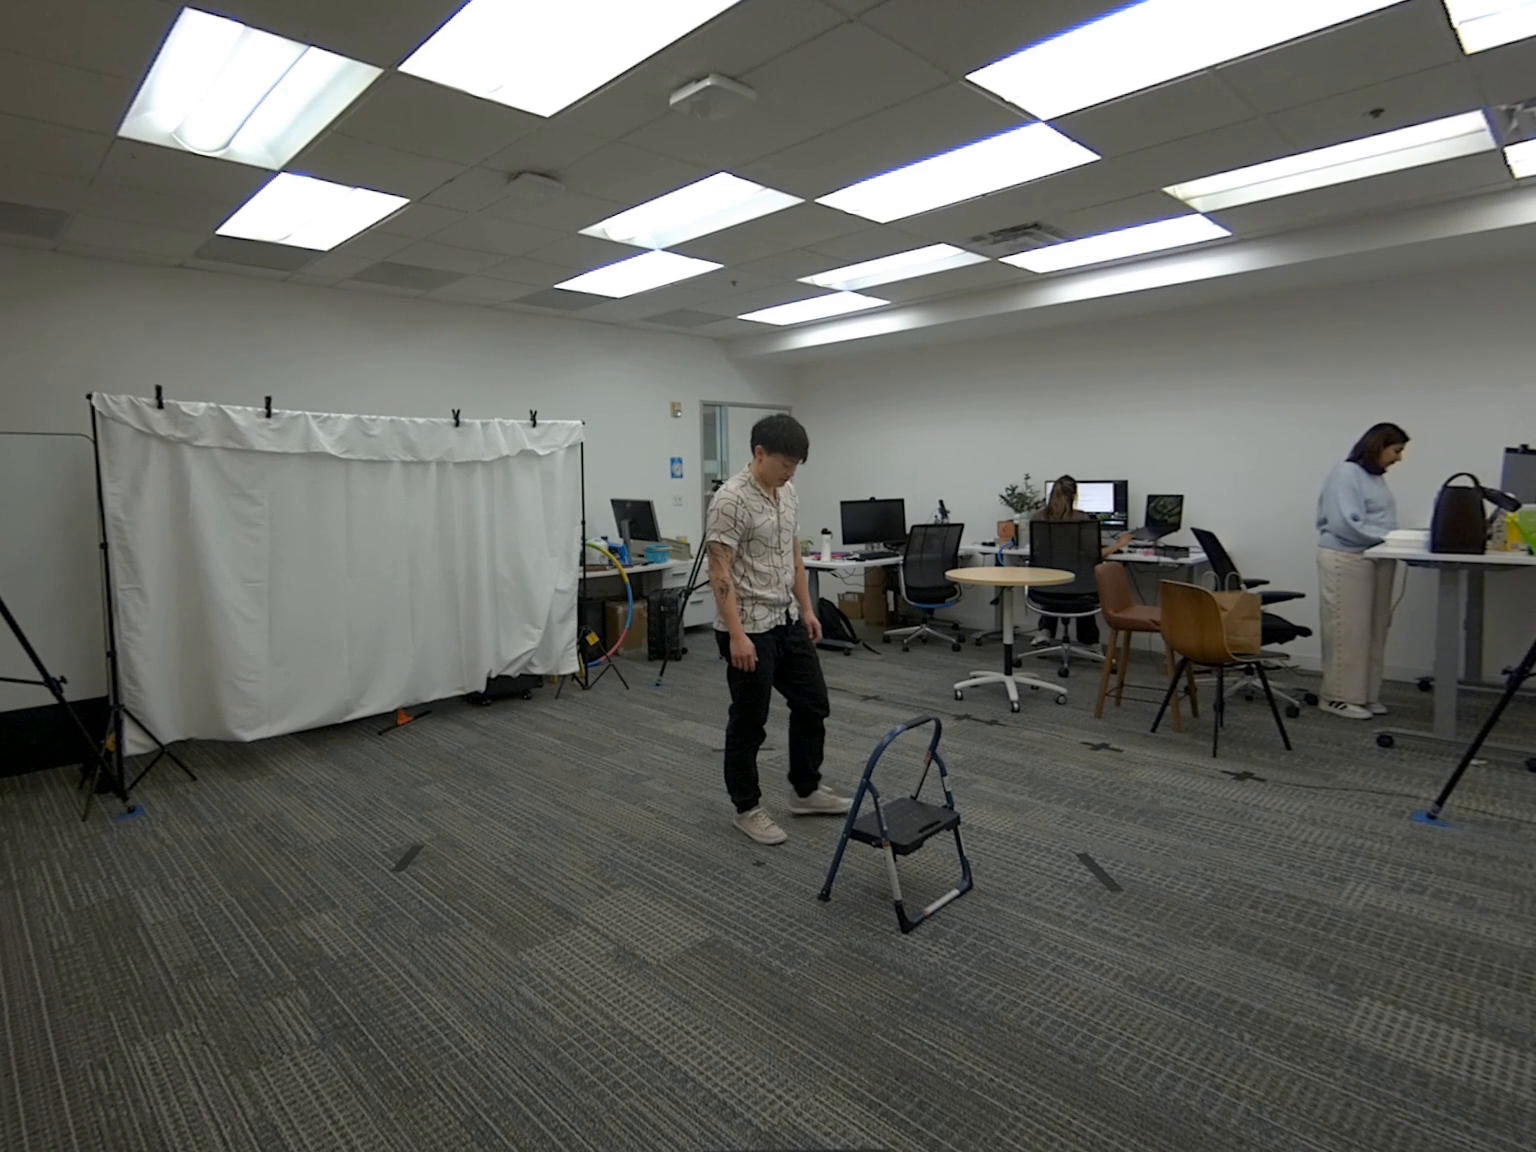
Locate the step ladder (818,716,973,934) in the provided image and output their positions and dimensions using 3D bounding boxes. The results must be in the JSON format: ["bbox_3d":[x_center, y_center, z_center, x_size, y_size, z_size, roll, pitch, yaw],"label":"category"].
[{"bbox_3d":[0.430,0.765,2.854,0.360,0.604,0.419,3,6,42],"label":"step ladder"}]
